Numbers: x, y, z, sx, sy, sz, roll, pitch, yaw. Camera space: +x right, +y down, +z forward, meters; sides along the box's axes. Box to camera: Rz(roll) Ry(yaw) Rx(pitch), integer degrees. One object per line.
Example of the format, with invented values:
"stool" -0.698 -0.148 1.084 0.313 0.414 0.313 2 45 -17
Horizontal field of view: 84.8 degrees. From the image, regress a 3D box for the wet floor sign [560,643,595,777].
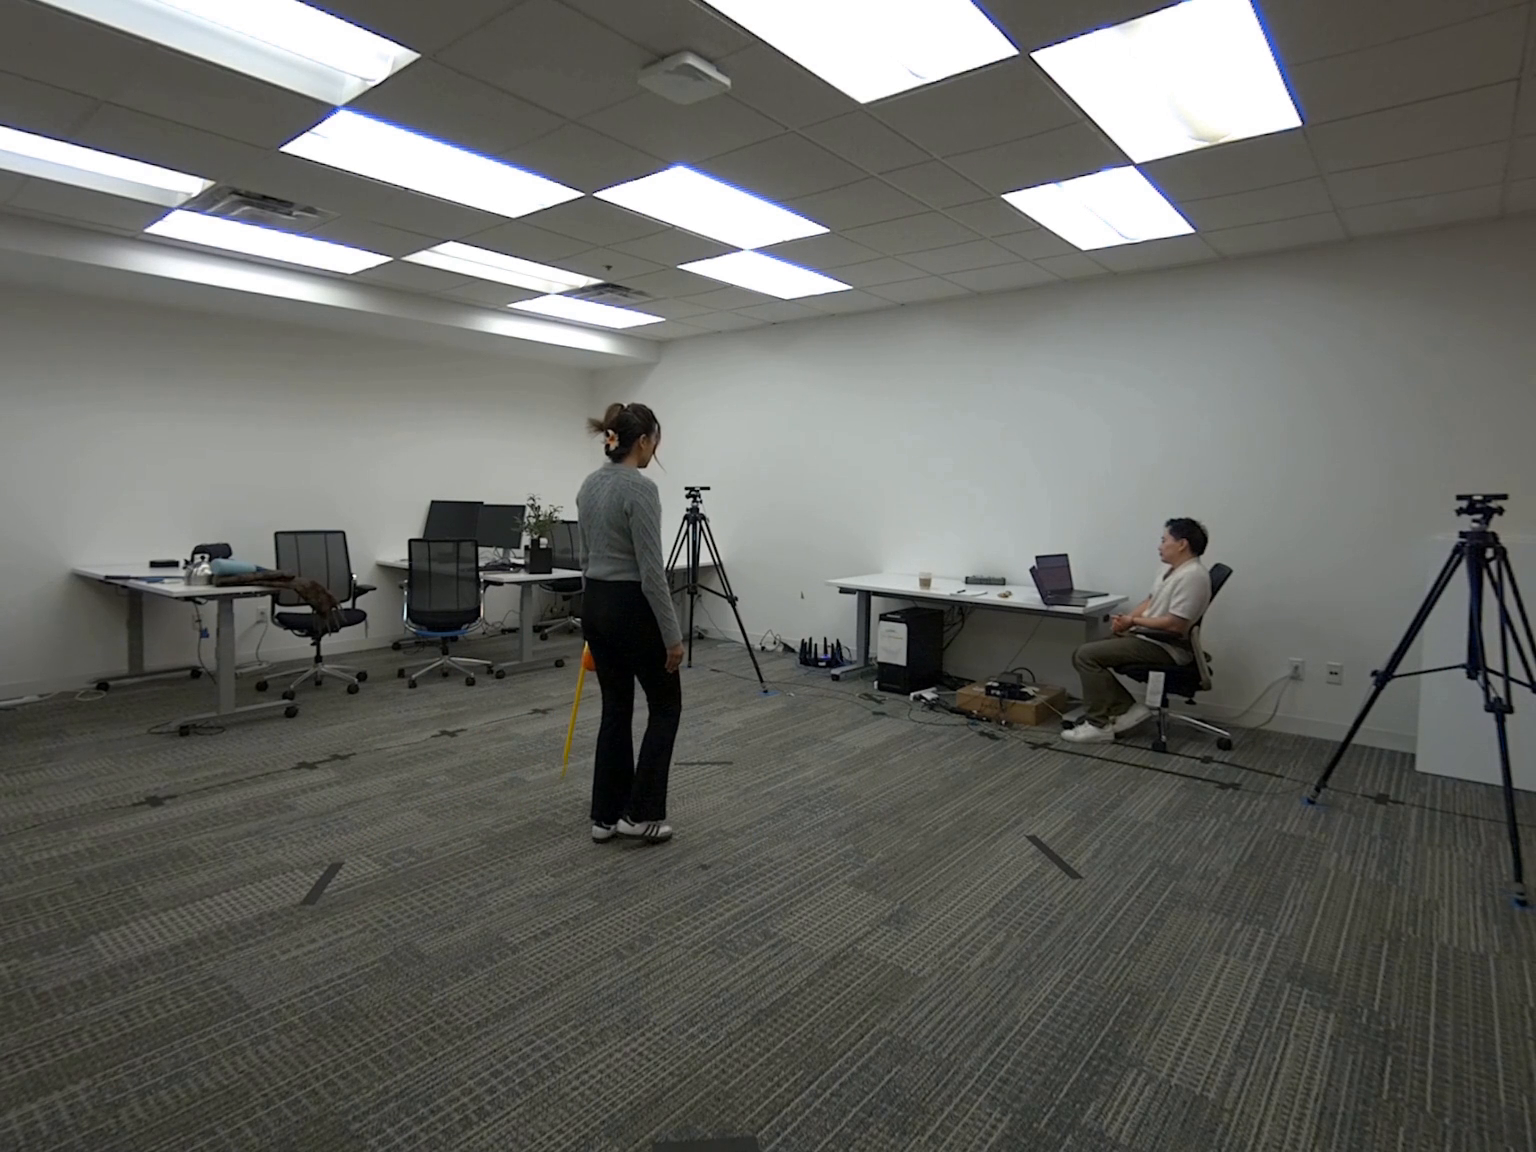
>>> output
"wet floor sign" -0.762 0.505 3.685 0.287 0.641 0.287 0 9 -9
